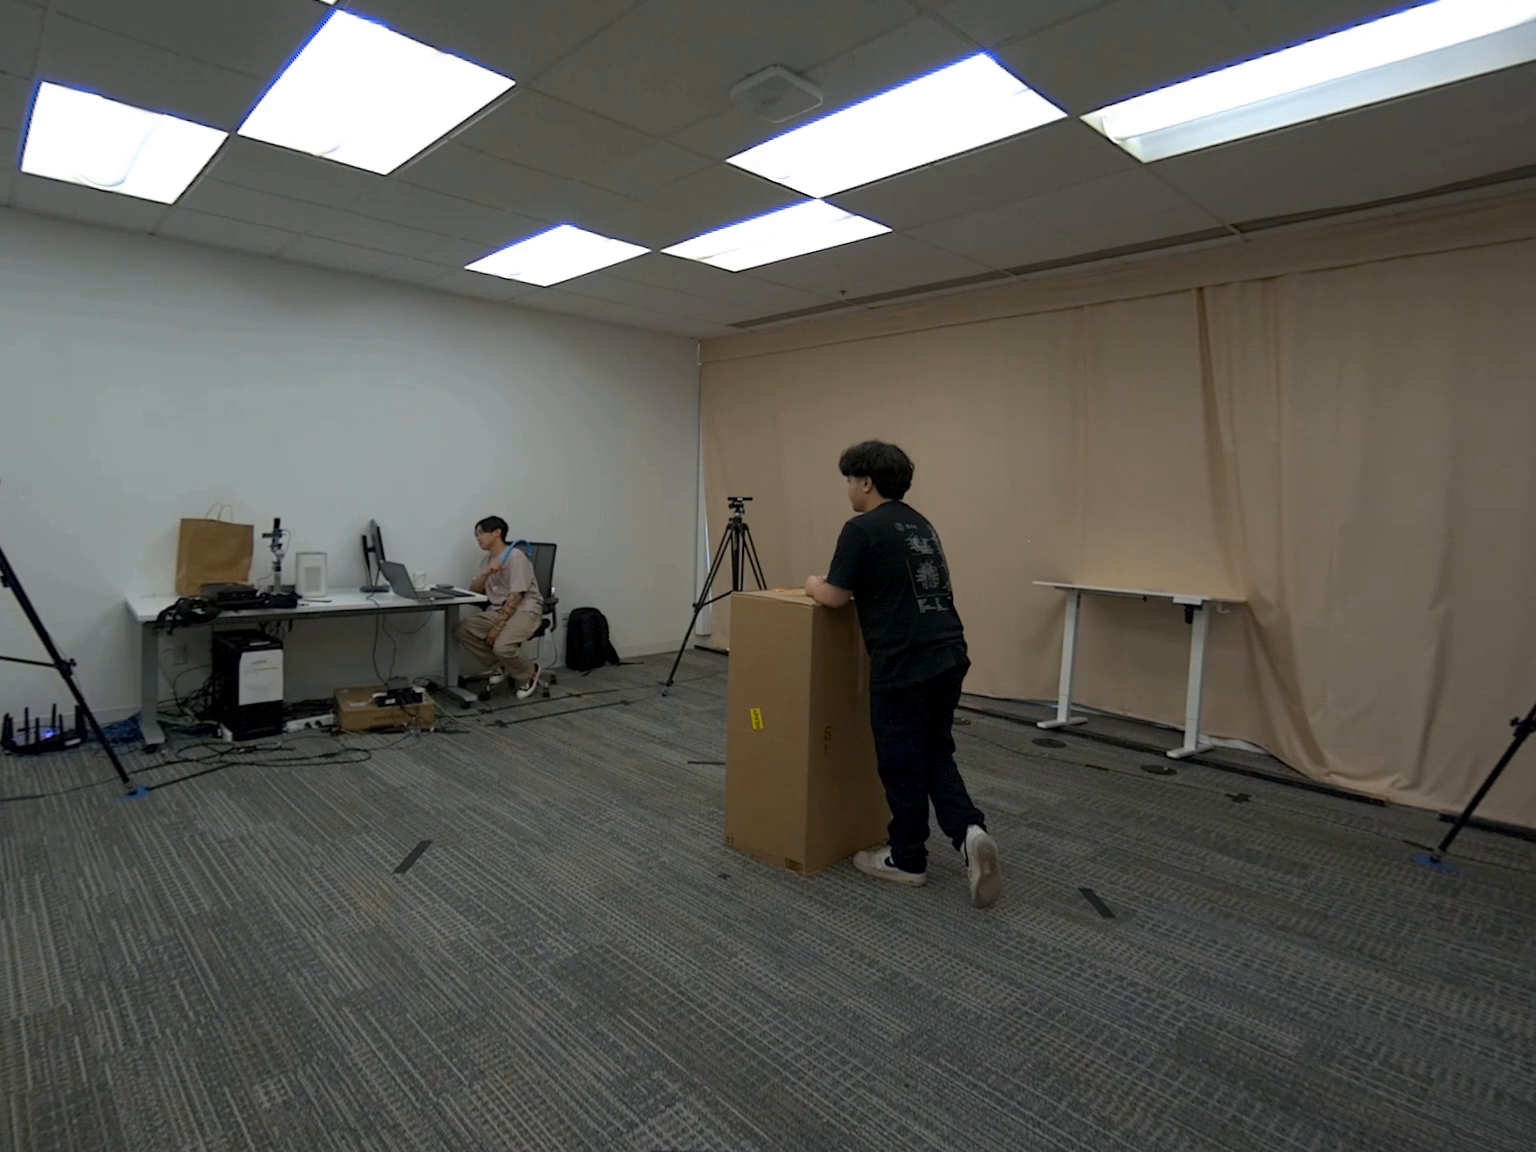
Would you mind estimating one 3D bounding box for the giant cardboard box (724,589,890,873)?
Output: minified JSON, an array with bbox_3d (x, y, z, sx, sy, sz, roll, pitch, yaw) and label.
[{"bbox_3d":[0.172,0.577,3.438,0.458,1.025,0.570,4,3,44],"label":"giant cardboard box"}]
